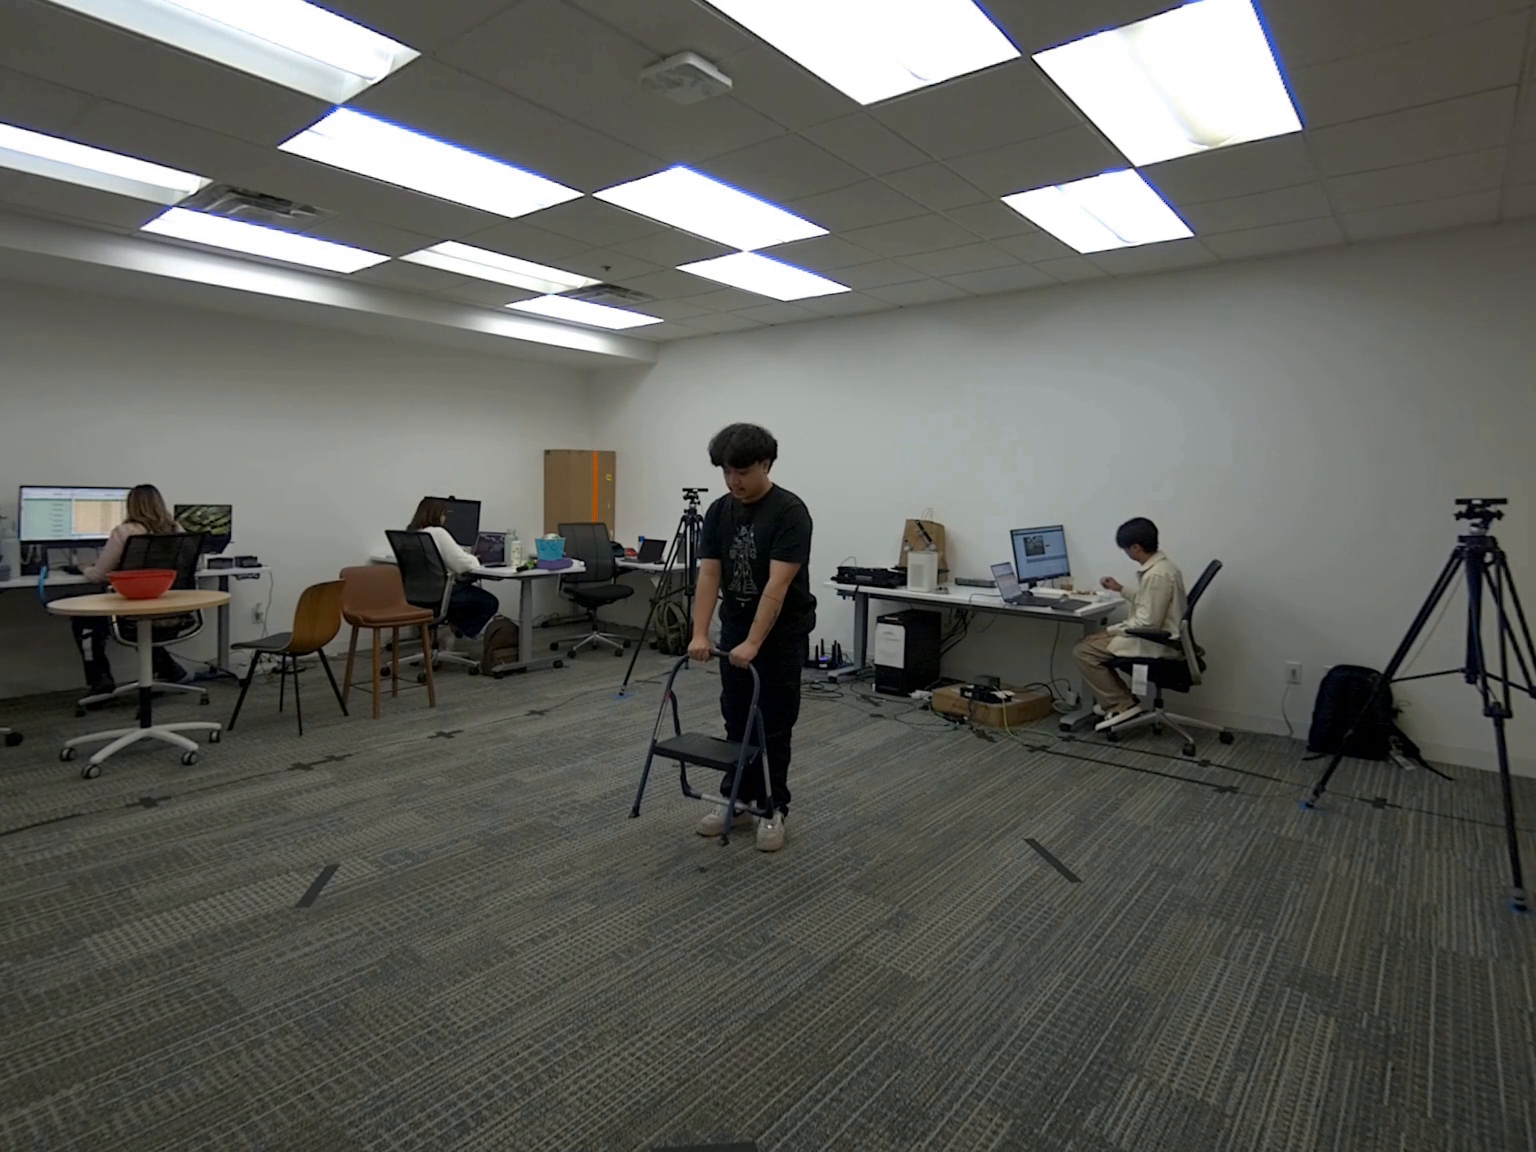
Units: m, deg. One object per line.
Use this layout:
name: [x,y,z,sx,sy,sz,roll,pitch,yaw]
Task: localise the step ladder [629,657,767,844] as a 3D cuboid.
step ladder: [-0.240,0.597,3.123,0.444,0.605,0.339,3,3,33]
